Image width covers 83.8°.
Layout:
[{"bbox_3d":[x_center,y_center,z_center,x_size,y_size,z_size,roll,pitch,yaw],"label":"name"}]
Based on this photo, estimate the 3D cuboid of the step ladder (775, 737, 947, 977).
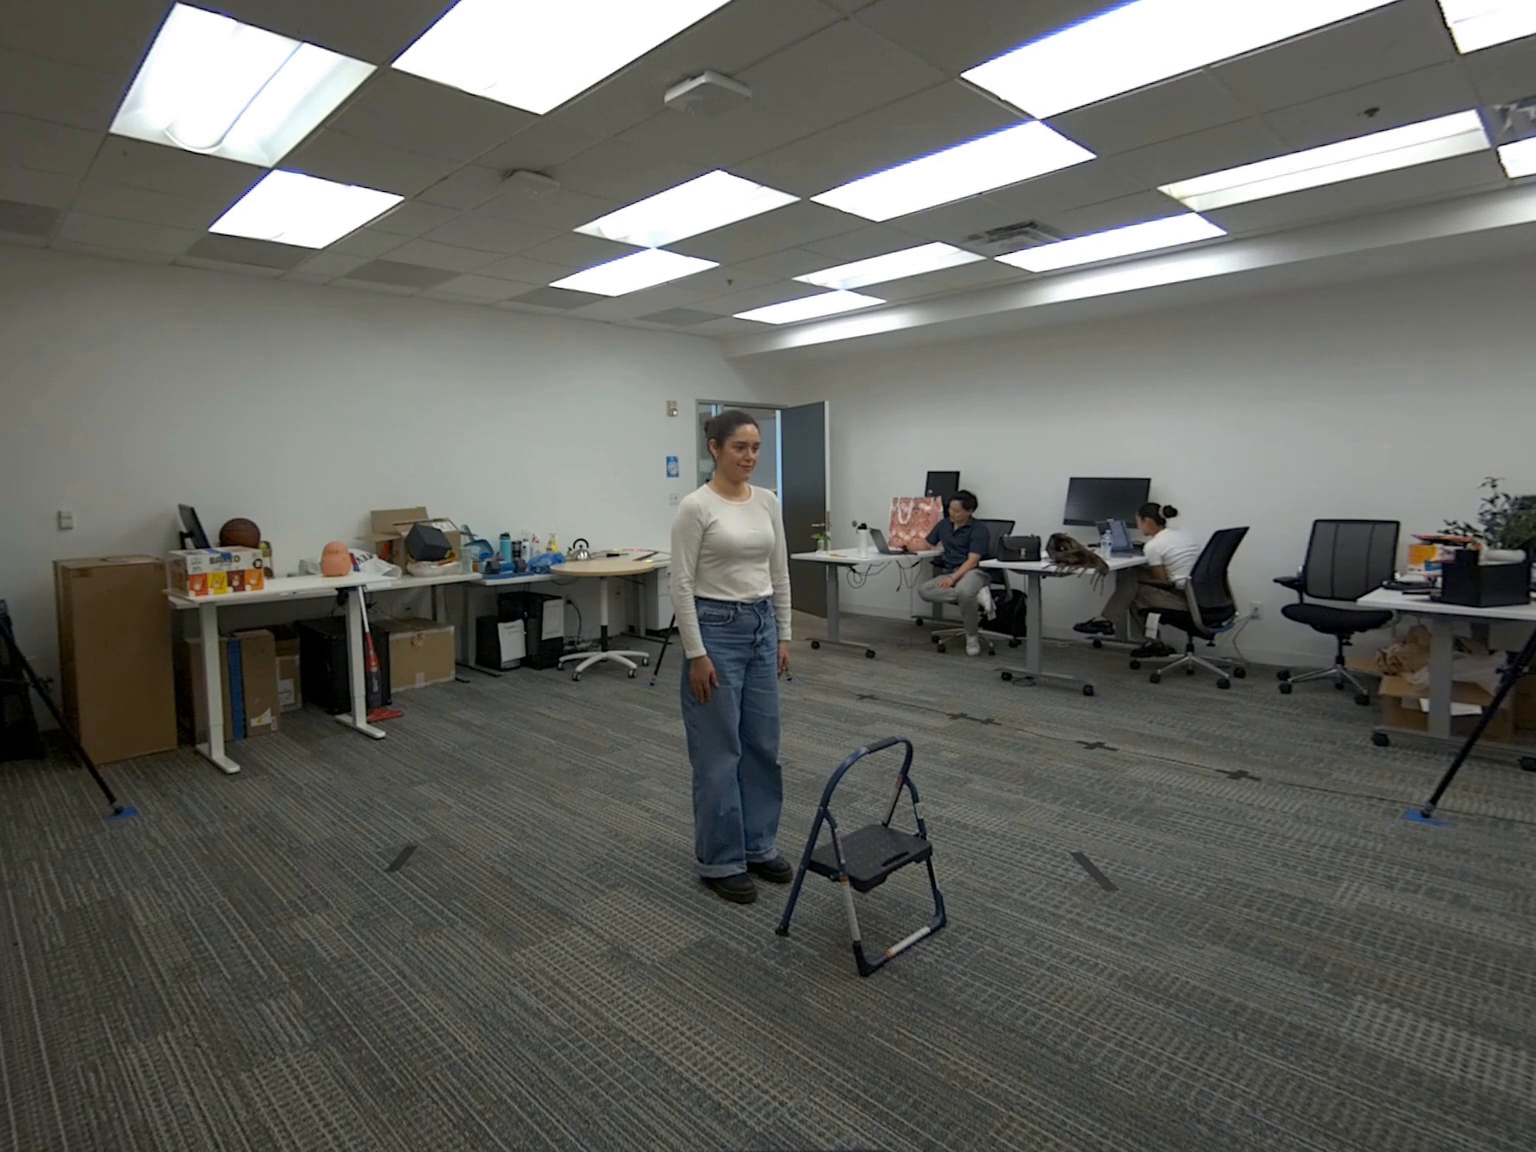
[{"bbox_3d":[0.289,0.791,2.626,0.360,0.604,0.419,3,6,45],"label":"step ladder"}]
